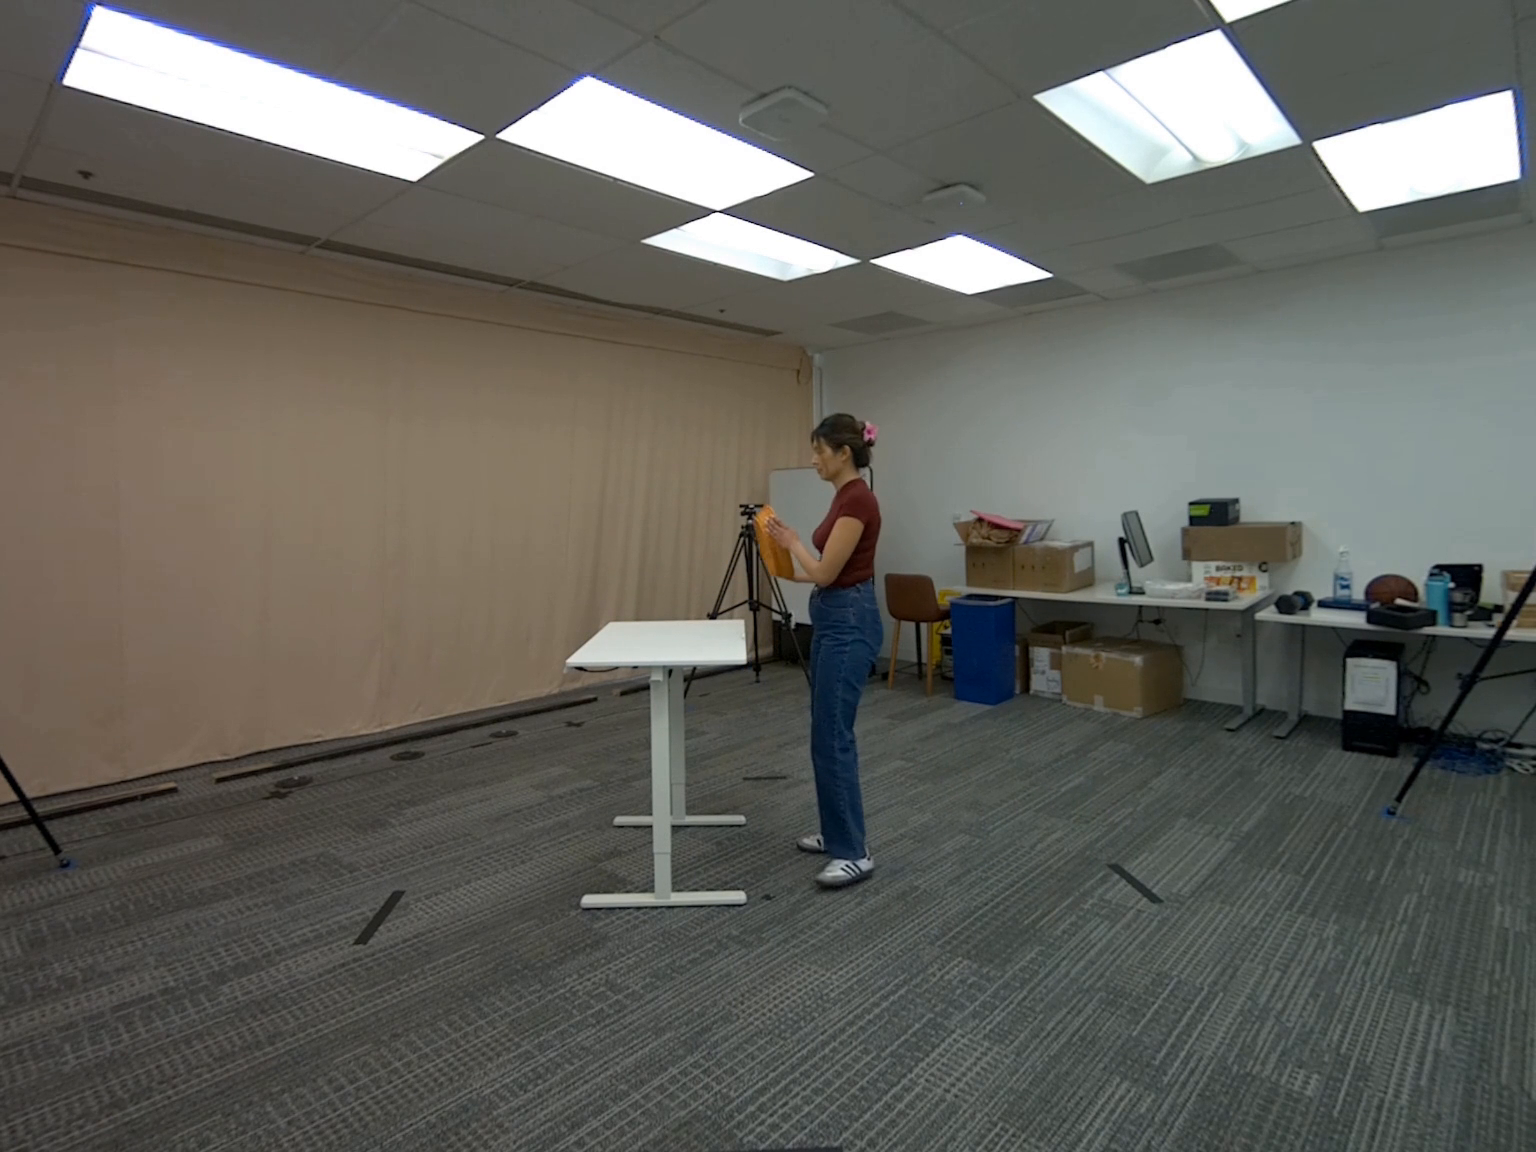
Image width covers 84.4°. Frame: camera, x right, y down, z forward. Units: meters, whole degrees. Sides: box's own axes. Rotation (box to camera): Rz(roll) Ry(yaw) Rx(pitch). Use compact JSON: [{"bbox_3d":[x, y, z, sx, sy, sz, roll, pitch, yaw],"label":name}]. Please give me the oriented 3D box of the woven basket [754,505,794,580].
[{"bbox_3d":[0.026,-0.121,3.490,0.073,0.342,0.260,-21,29,-9],"label":"woven basket"}]
